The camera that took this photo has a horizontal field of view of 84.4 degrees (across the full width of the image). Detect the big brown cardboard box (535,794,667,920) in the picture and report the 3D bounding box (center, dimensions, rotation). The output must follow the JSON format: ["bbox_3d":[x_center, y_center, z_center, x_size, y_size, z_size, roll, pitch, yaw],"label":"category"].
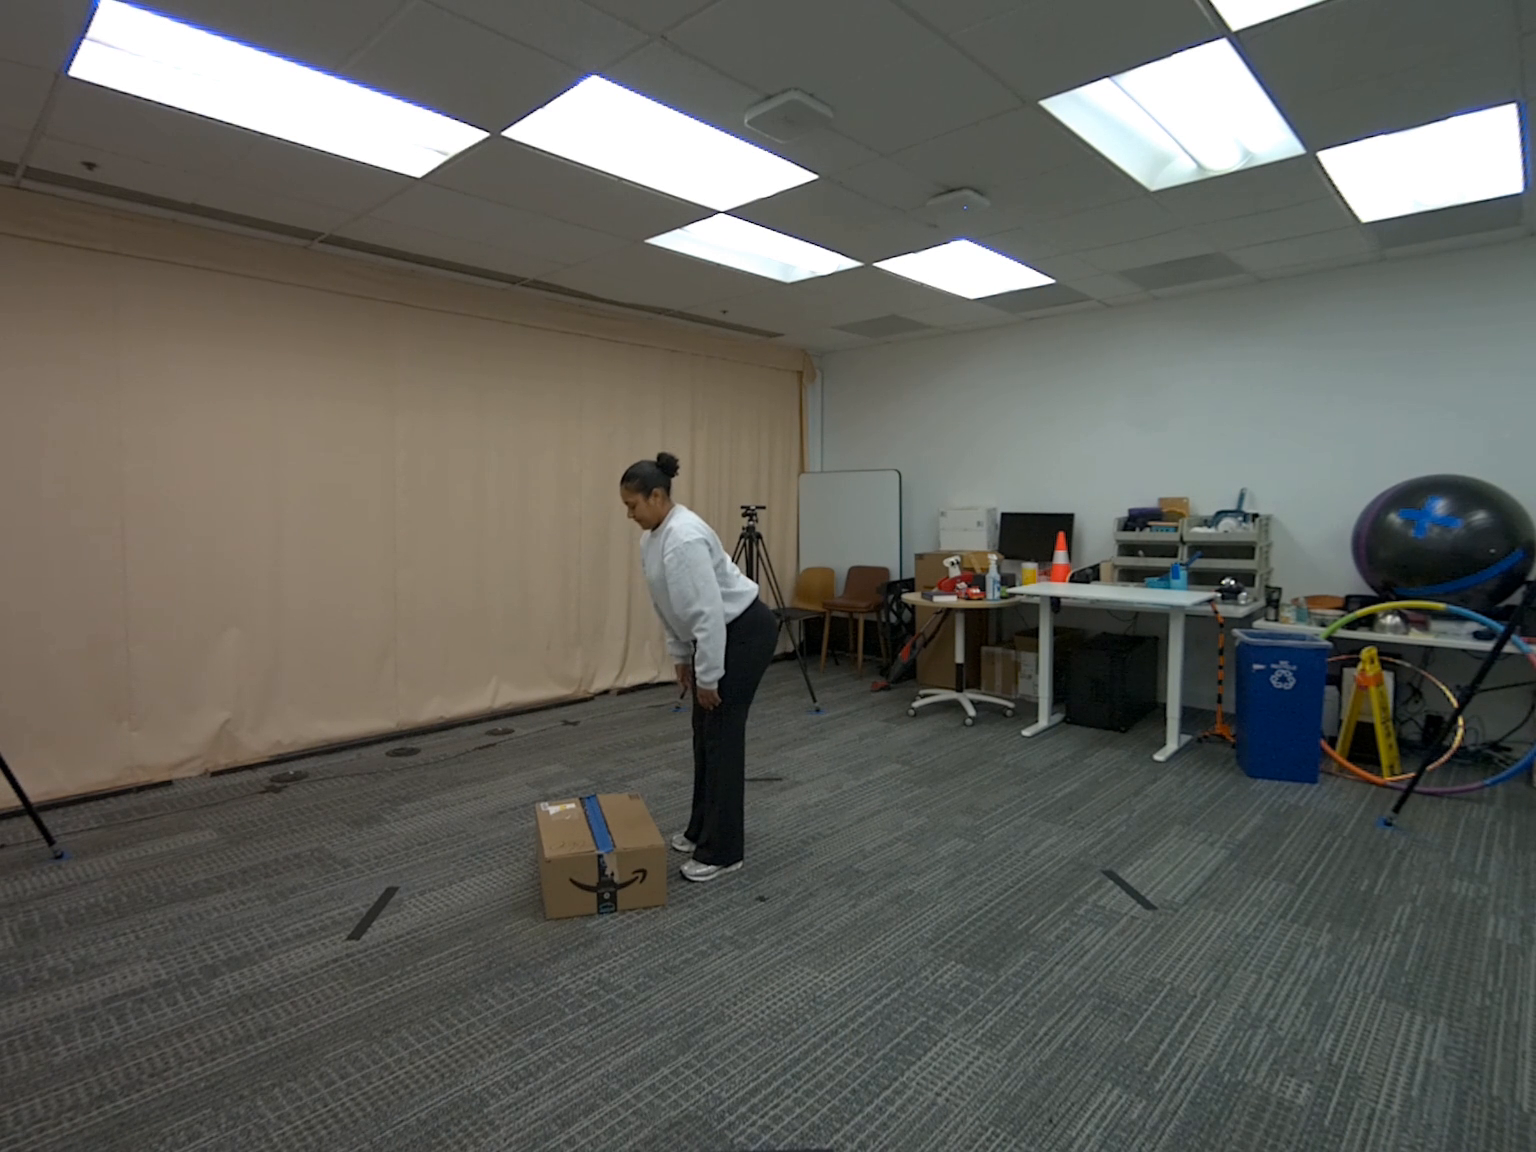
[{"bbox_3d":[-0.637,1.021,3.151,0.410,0.232,0.601,-2,6,-18],"label":"big brown cardboard box"}]
